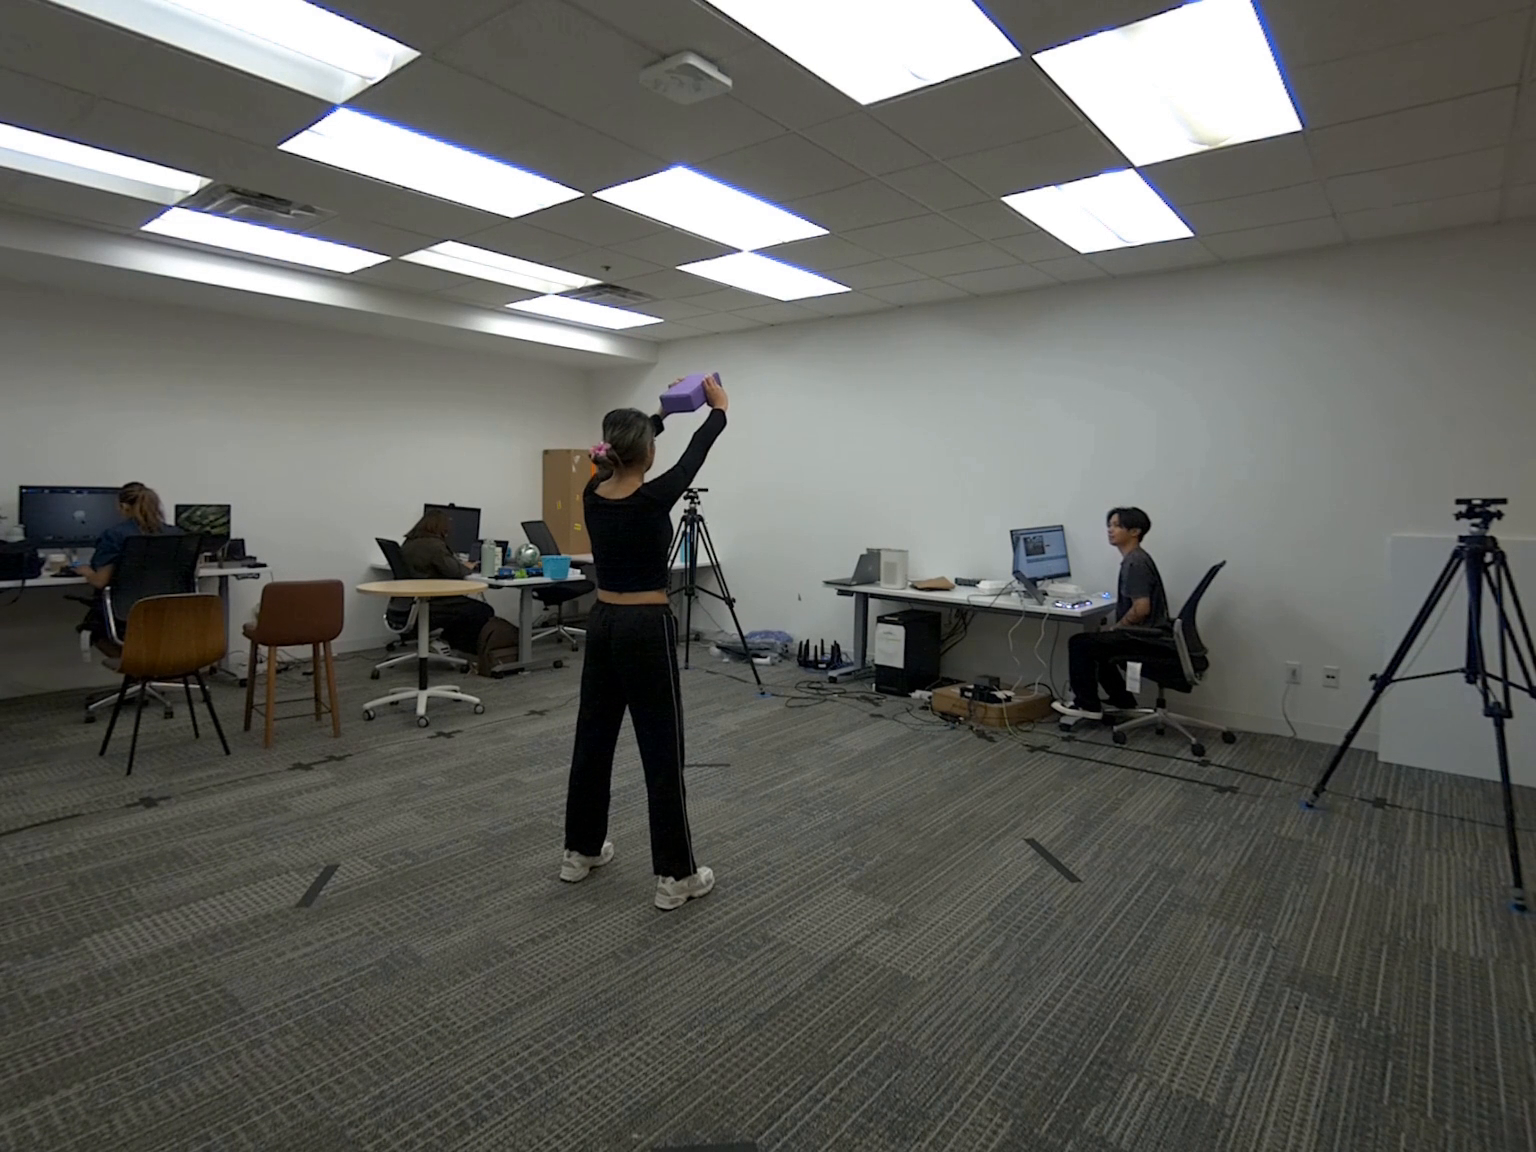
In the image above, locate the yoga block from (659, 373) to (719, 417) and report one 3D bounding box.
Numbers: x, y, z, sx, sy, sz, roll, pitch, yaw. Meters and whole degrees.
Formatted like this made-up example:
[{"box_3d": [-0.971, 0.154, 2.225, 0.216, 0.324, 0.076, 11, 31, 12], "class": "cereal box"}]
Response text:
[{"box_3d": [-0.307, -0.708, 3.279, 0.153, 0.074, 0.229, 3, 34, 31], "class": "yoga block"}]
